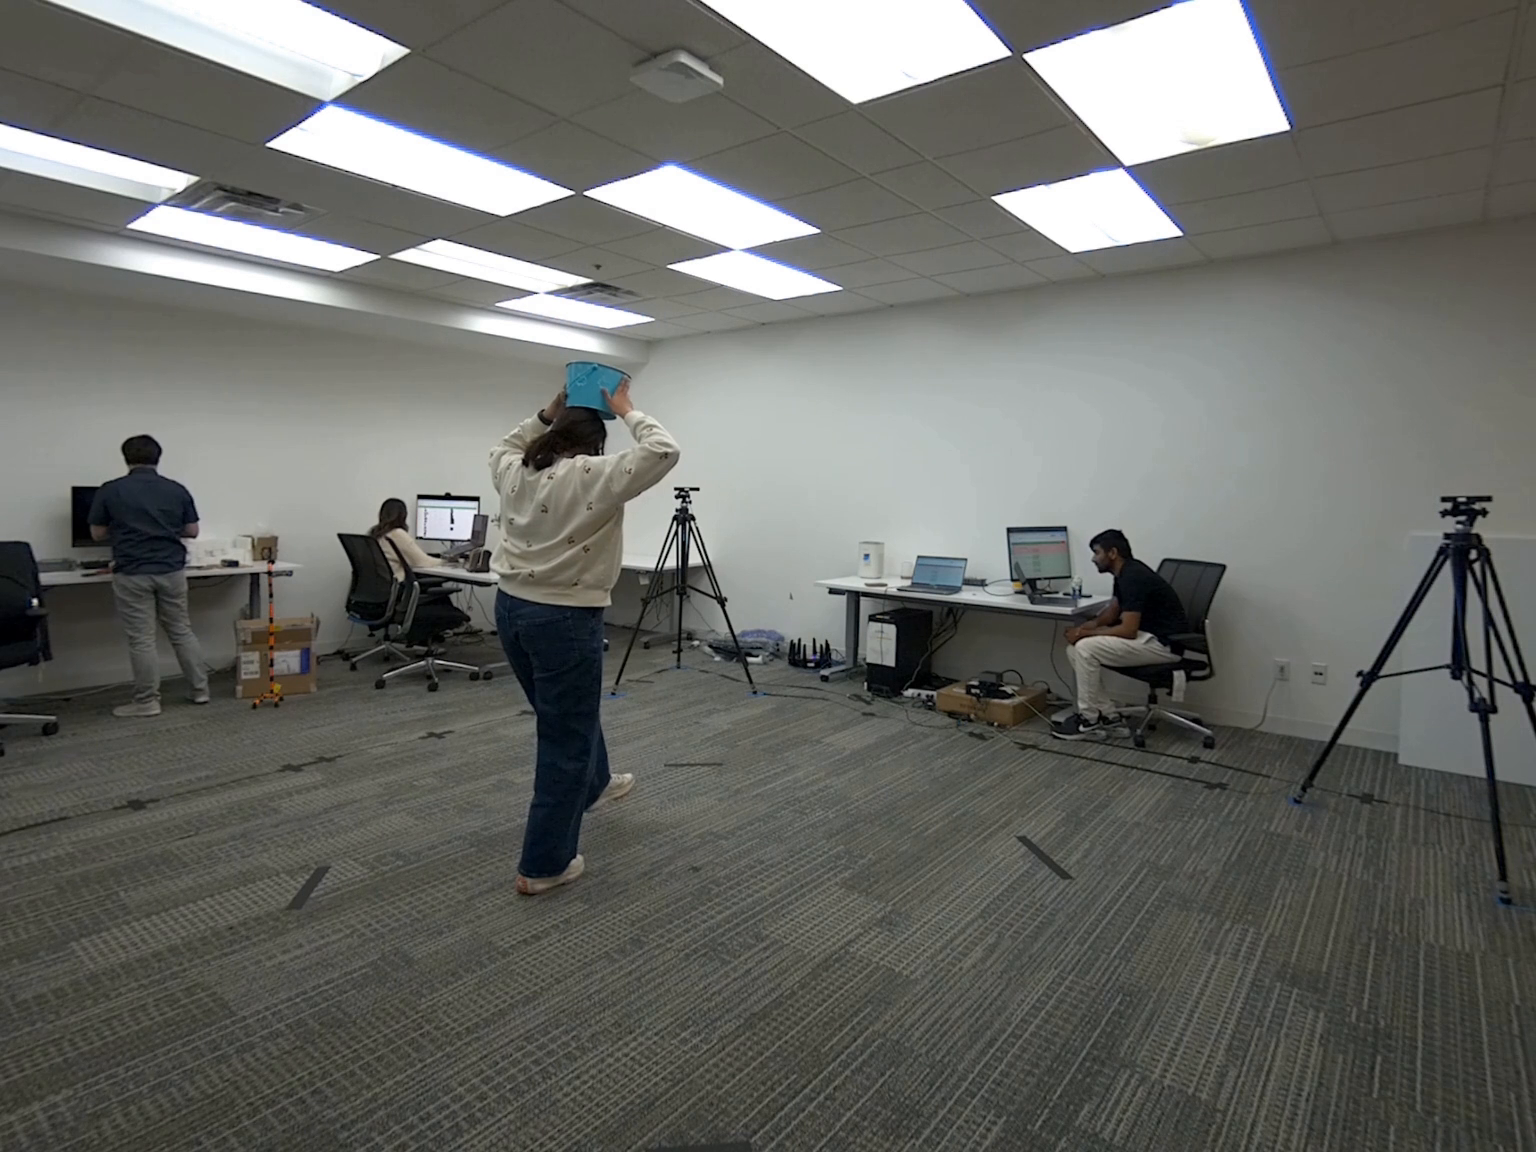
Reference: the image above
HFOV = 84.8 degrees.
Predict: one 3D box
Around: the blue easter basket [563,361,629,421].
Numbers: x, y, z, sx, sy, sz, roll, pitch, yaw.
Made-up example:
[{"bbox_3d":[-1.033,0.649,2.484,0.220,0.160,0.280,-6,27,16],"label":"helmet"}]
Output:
[{"bbox_3d":[-0.634,-0.652,3.009,0.243,0.156,0.243,9,-4,-1],"label":"blue easter basket"}]
